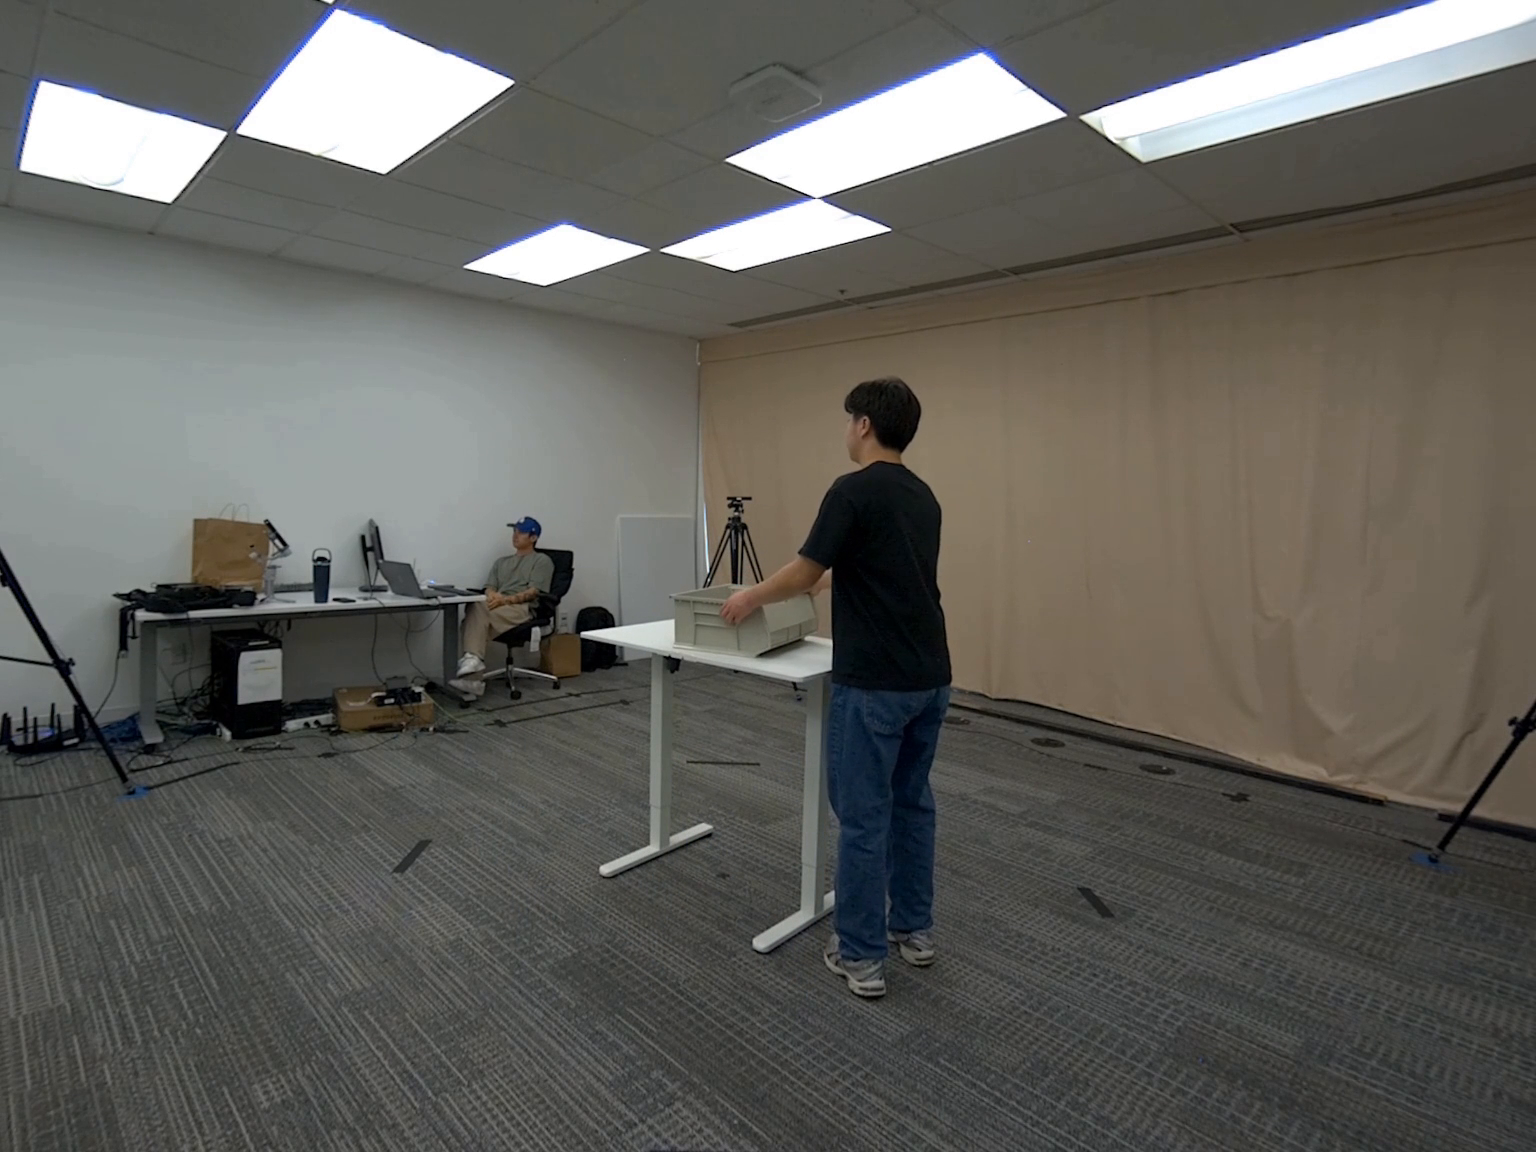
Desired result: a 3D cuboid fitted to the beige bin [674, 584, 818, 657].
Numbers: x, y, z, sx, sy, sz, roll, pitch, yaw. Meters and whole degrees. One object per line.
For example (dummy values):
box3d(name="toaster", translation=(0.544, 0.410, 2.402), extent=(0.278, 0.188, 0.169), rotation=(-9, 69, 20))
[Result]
box3d(name="beige bin", translation=(-0.084, 0.155, 2.934), extent=(0.385, 0.188, 0.415), rotation=(2, 5, 28))
